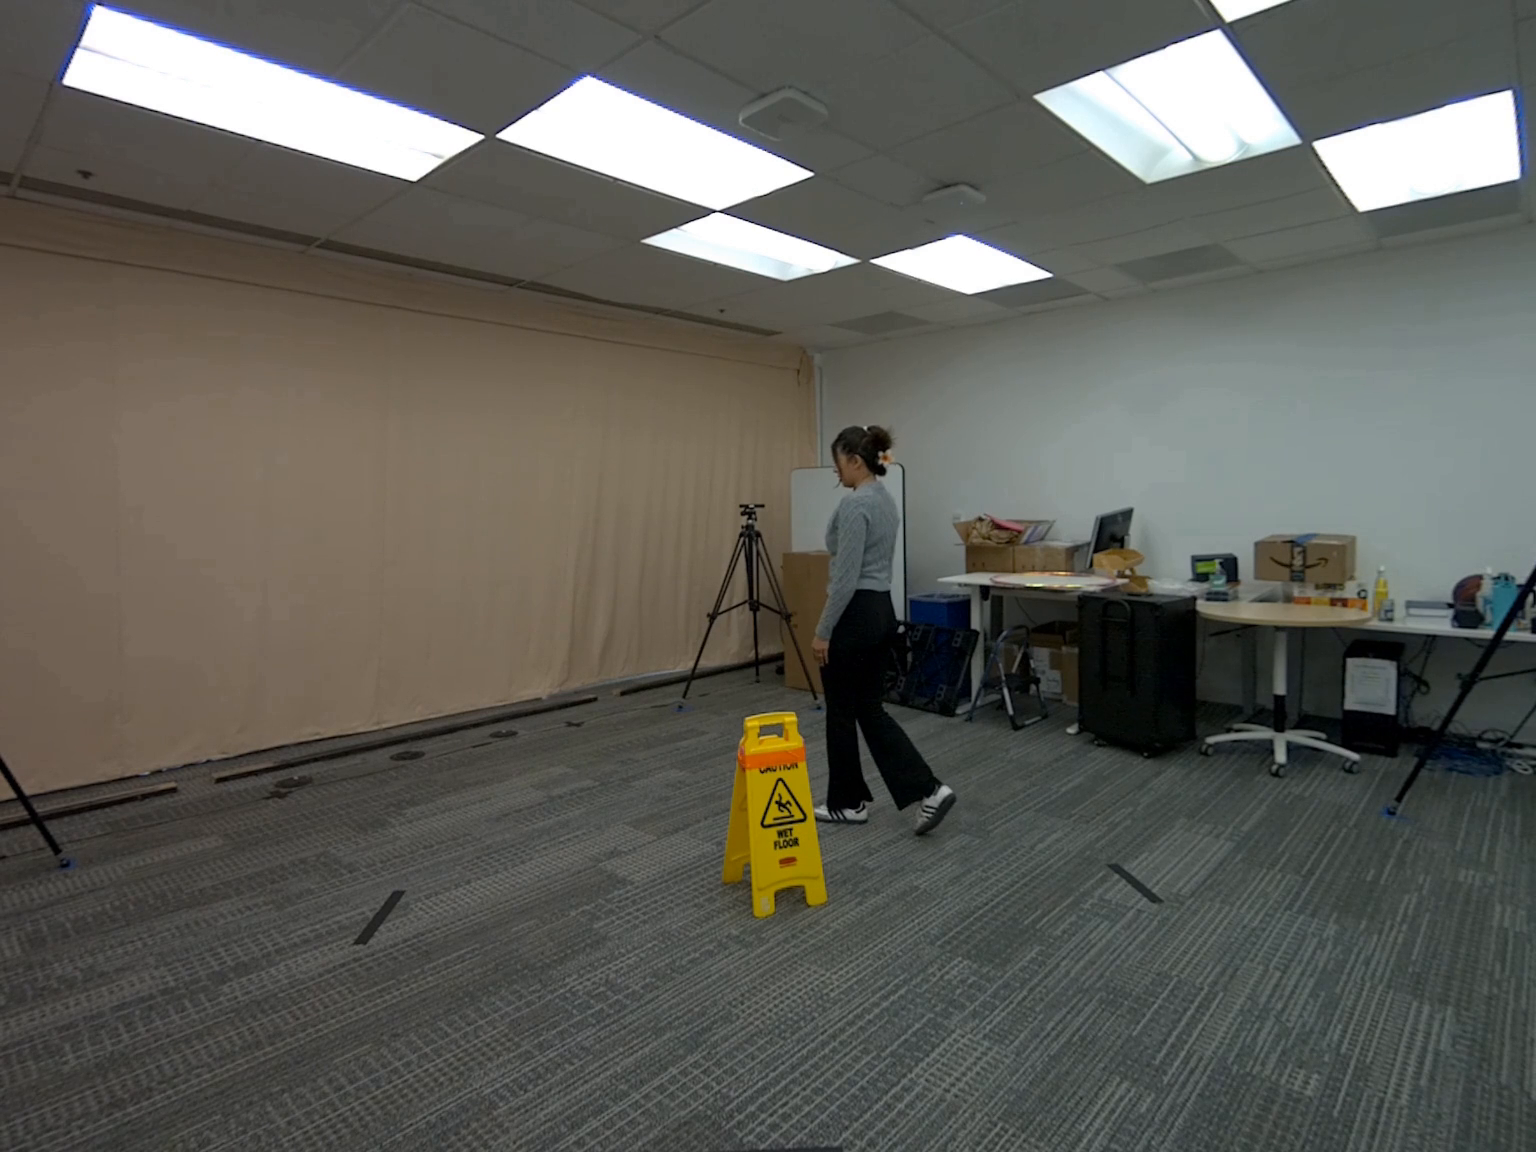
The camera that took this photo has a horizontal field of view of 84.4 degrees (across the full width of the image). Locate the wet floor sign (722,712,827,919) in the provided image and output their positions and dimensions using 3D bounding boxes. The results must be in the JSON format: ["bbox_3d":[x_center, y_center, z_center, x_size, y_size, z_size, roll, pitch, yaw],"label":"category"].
[{"bbox_3d":[0.018,0.812,3.000,0.276,0.644,0.297,-4,5,-24],"label":"wet floor sign"}]
